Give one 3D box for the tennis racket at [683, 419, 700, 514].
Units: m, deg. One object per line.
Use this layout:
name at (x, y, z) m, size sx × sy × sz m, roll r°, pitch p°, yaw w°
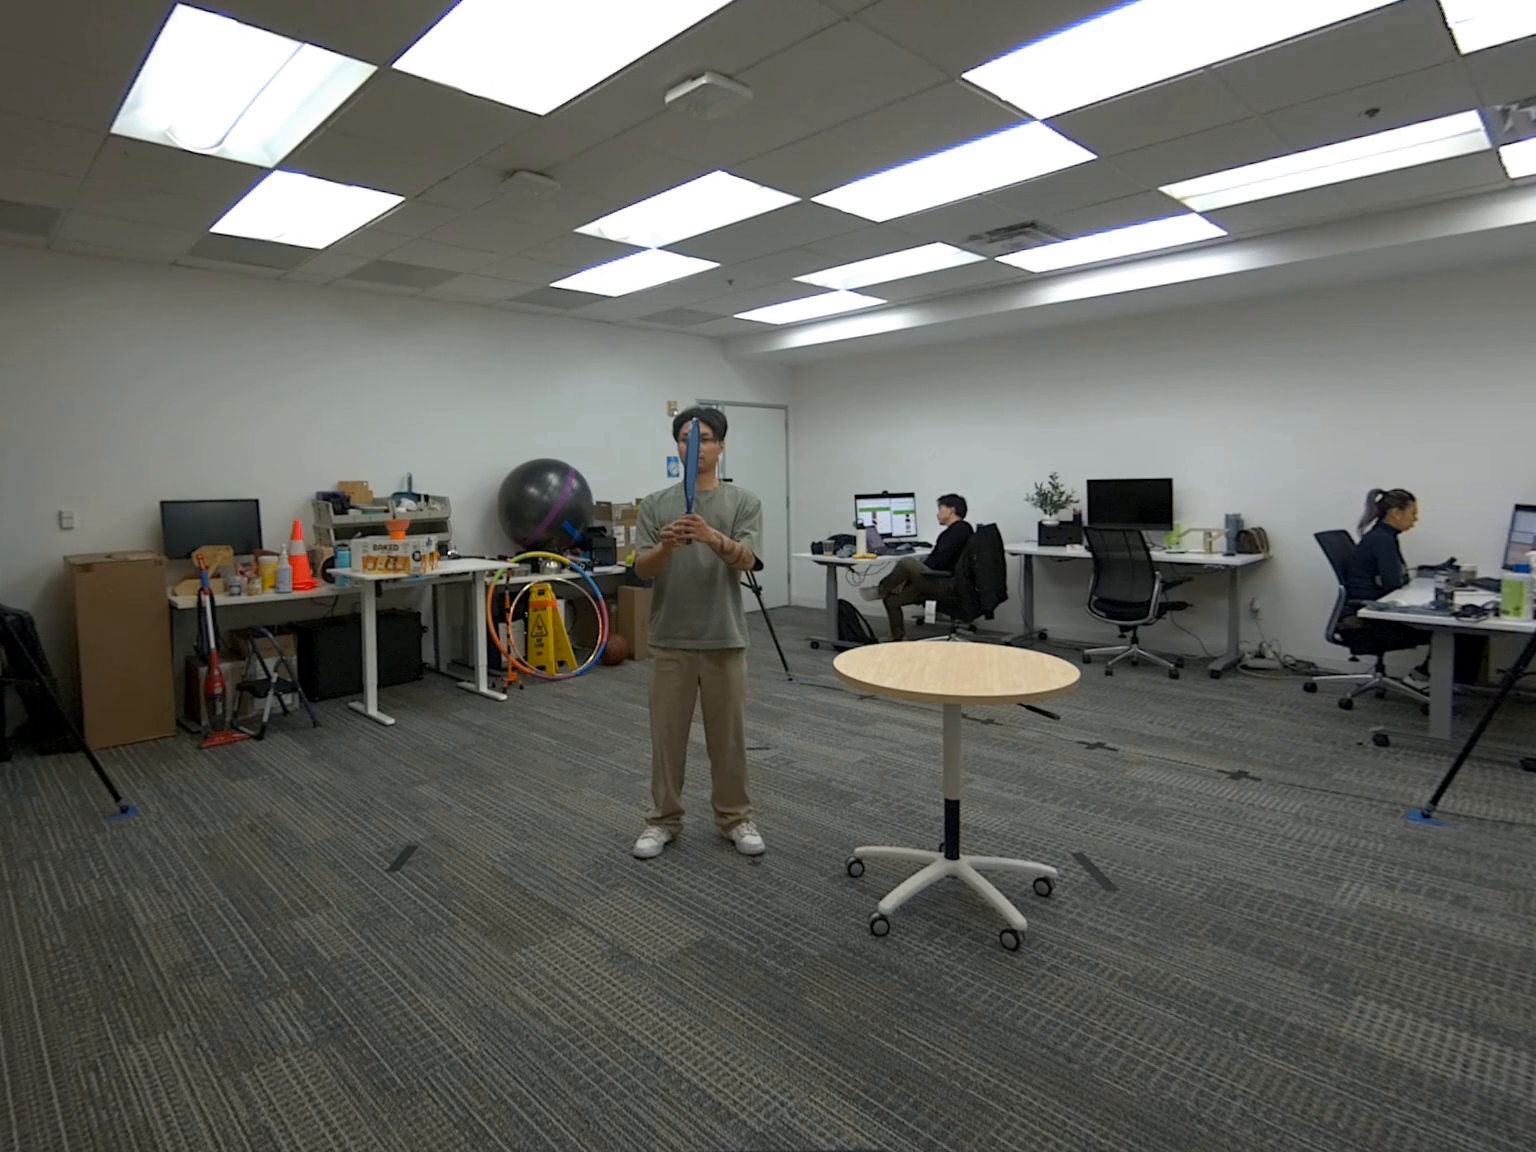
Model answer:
tennis racket at (-0.253, -0.305, 2.792) m, size 0.032 × 0.424 × 0.217 m, roll 6°, pitch 27°, yaw 4°
